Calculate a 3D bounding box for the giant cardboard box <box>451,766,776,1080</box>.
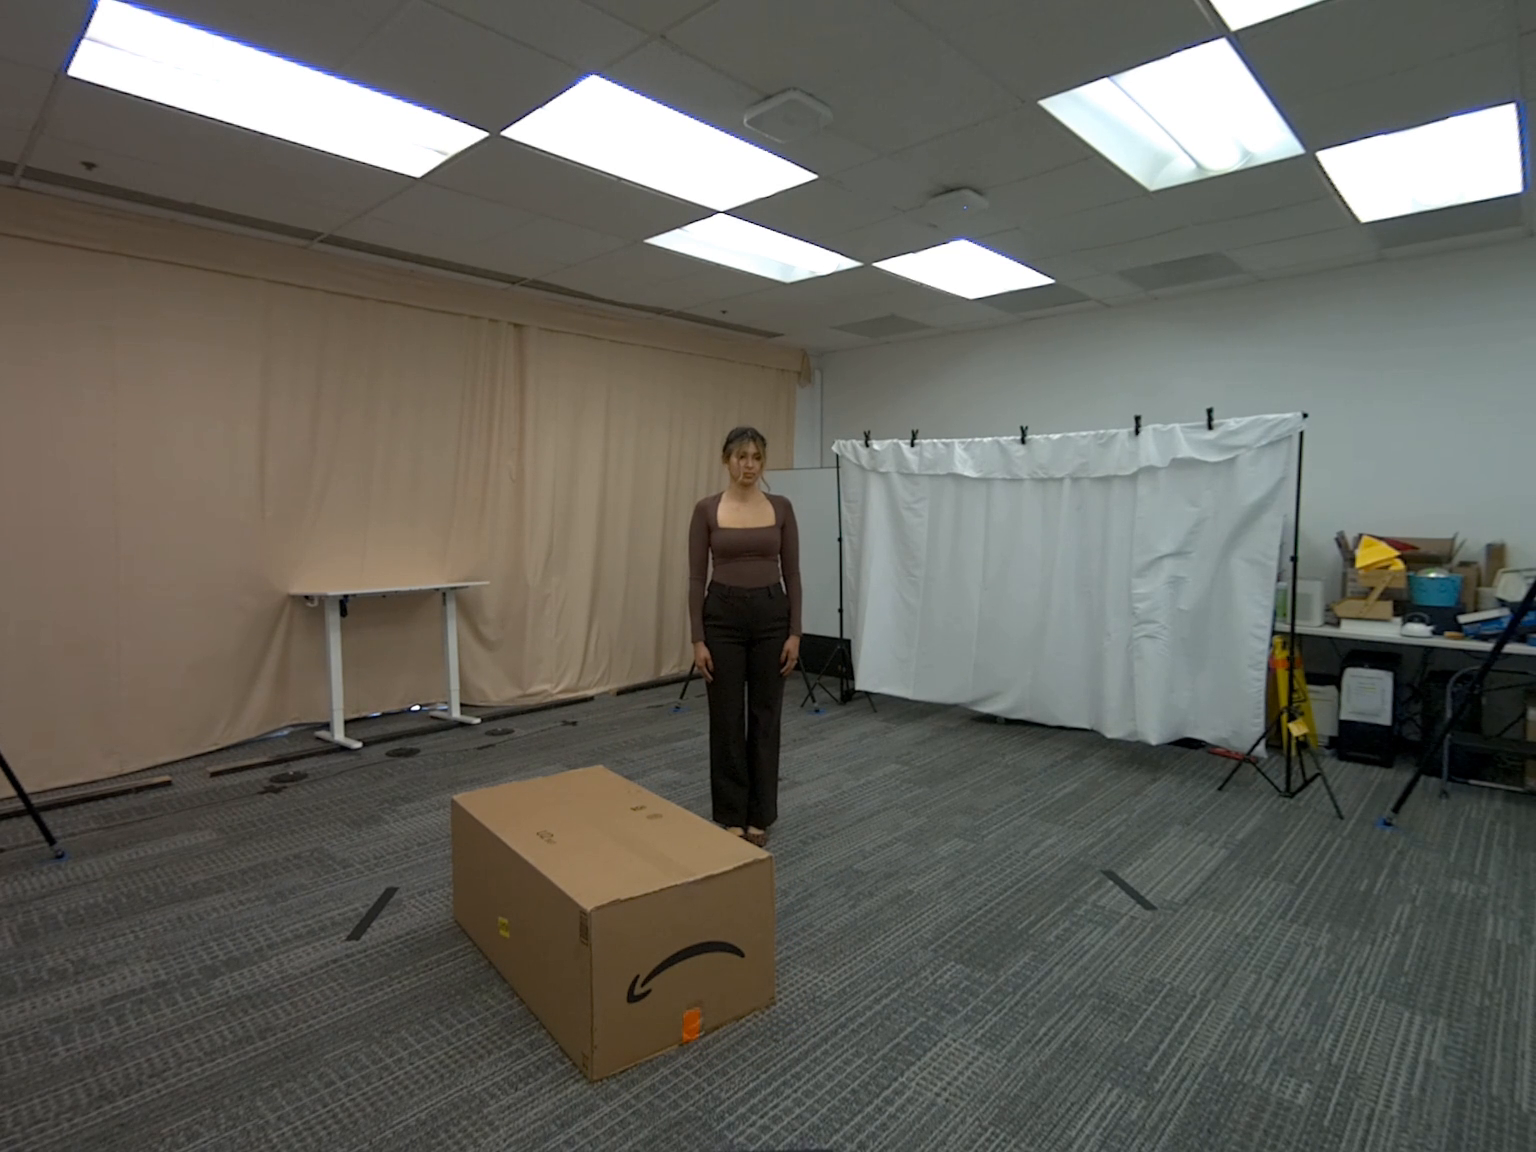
[{"bbox_3d":[-0.526,0.970,2.596,0.567,0.446,1.060,-4,5,-37],"label":"giant cardboard box"}]
